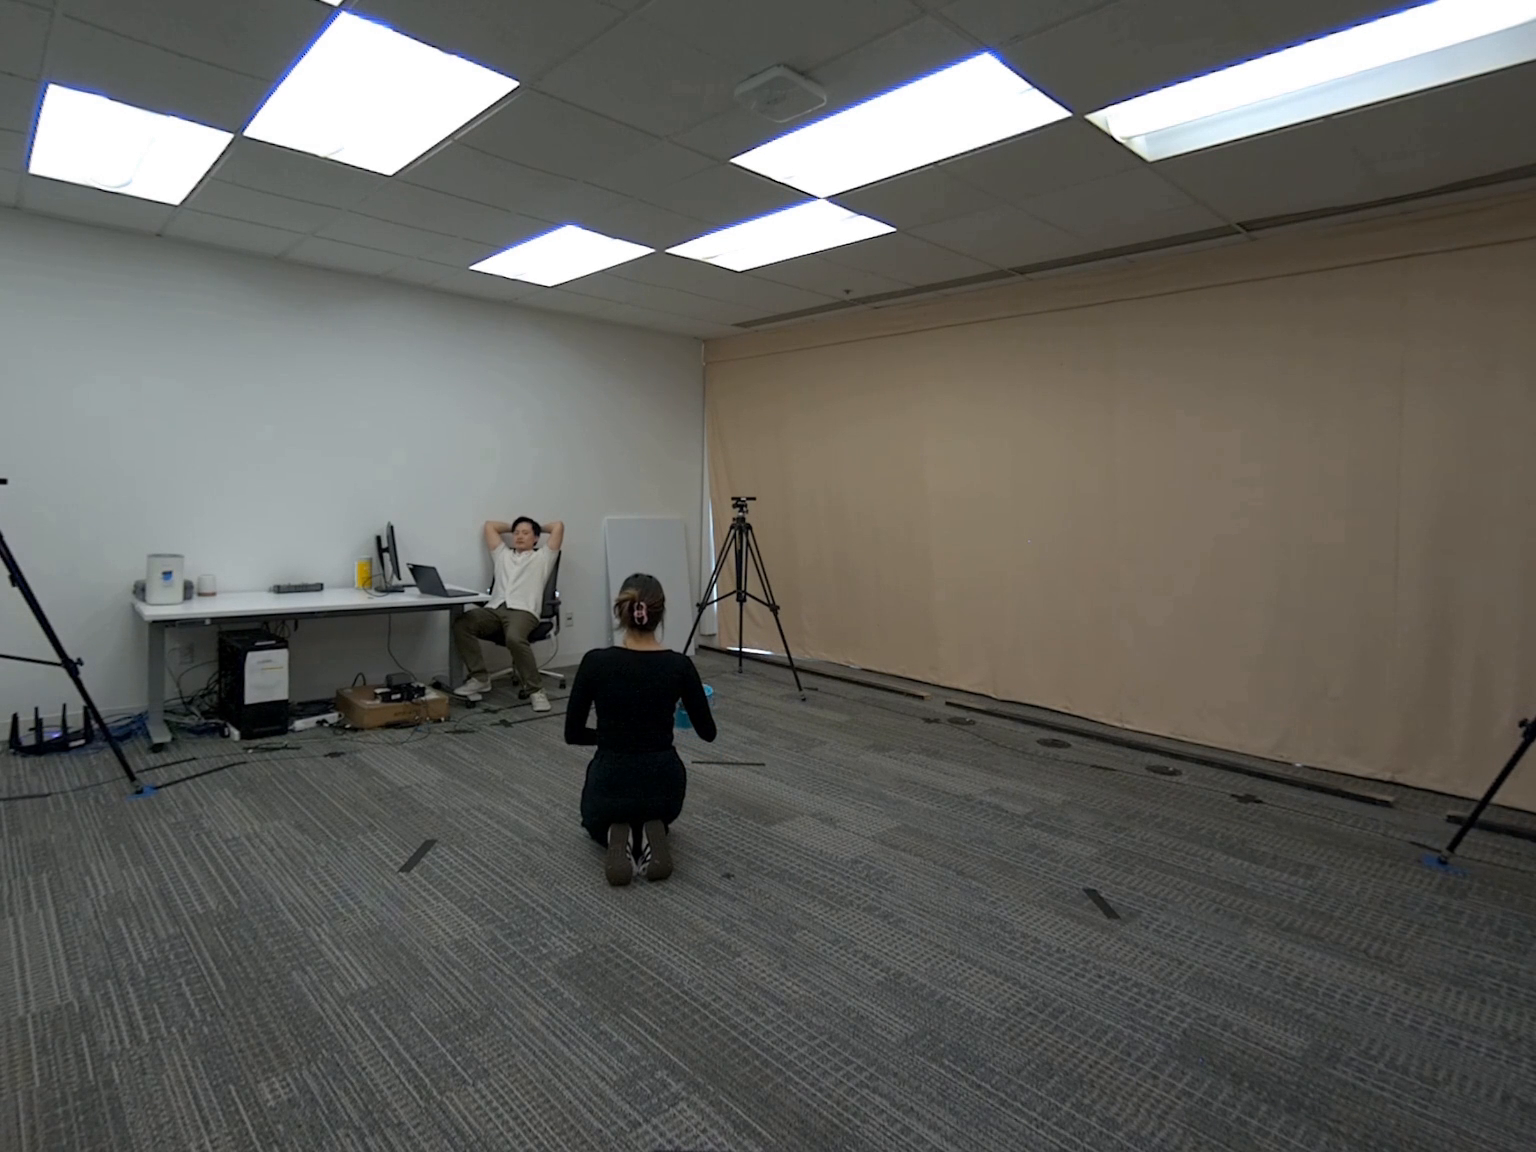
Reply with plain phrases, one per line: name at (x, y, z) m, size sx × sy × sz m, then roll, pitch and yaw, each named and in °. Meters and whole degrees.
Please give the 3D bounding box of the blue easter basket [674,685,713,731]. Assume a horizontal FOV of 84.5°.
blue easter basket at (-0.361, 0.566, 3.662) m, size 0.243 × 0.155 × 0.245 m, roll 7°, pitch 7°, yaw -2°
